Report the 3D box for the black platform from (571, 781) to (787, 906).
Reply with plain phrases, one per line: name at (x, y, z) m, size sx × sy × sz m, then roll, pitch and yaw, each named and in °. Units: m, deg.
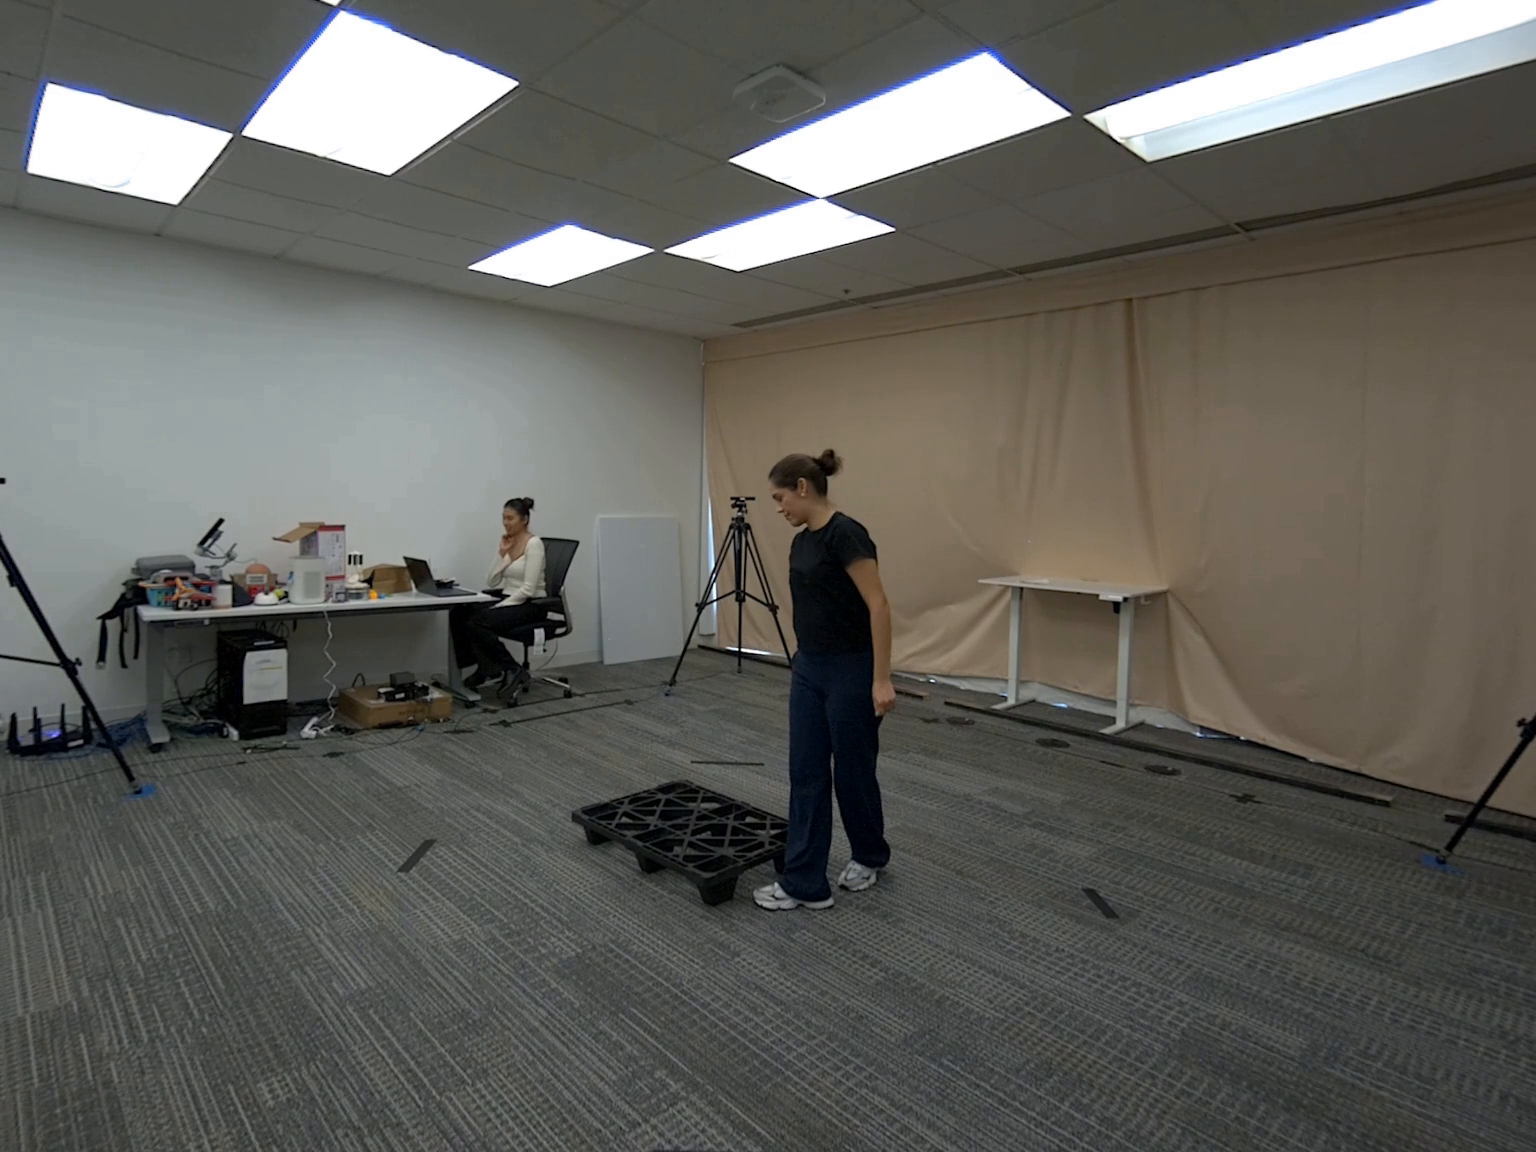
black platform at (-0.302, 1.024, 3.273) m, size 0.826 × 0.143 × 0.591 m, roll 7°, pitch 7°, yaw 44°
